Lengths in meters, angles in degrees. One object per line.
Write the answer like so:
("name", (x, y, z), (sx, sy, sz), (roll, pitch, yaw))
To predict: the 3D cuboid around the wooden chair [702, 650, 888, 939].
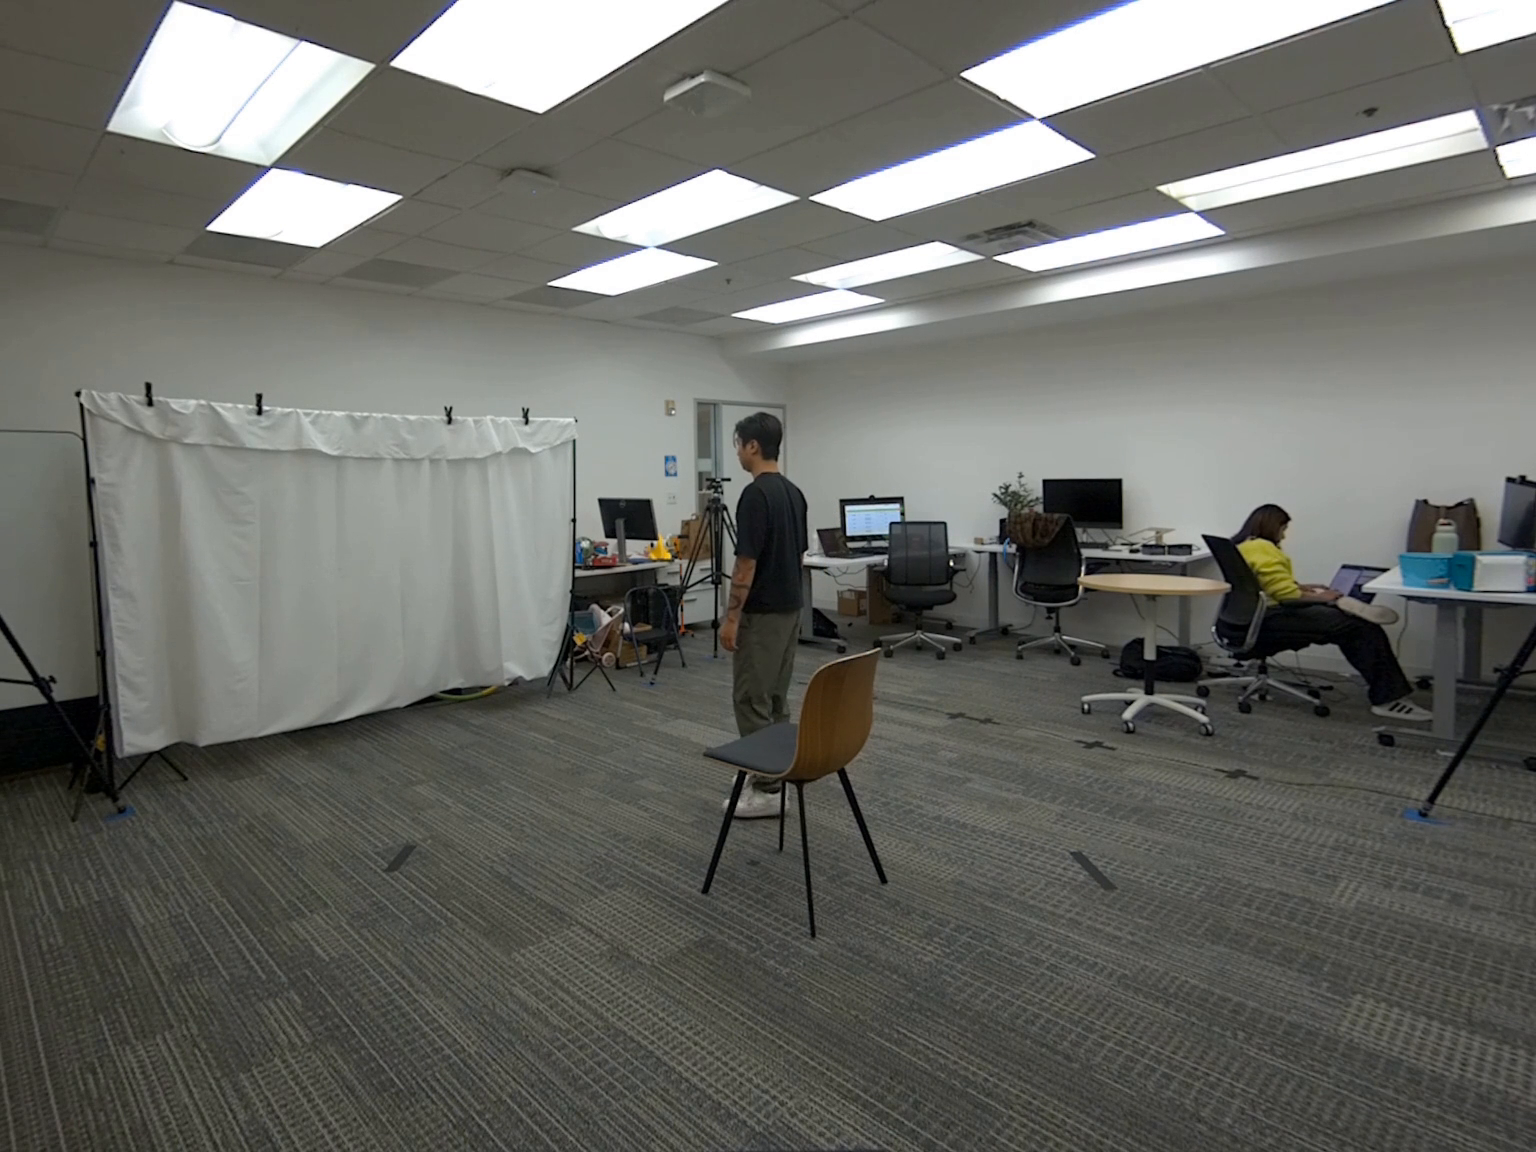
("wooden chair", (0.076, 0.641, 2.876), (0.540, 0.872, 0.466), (7, 9, 38))
